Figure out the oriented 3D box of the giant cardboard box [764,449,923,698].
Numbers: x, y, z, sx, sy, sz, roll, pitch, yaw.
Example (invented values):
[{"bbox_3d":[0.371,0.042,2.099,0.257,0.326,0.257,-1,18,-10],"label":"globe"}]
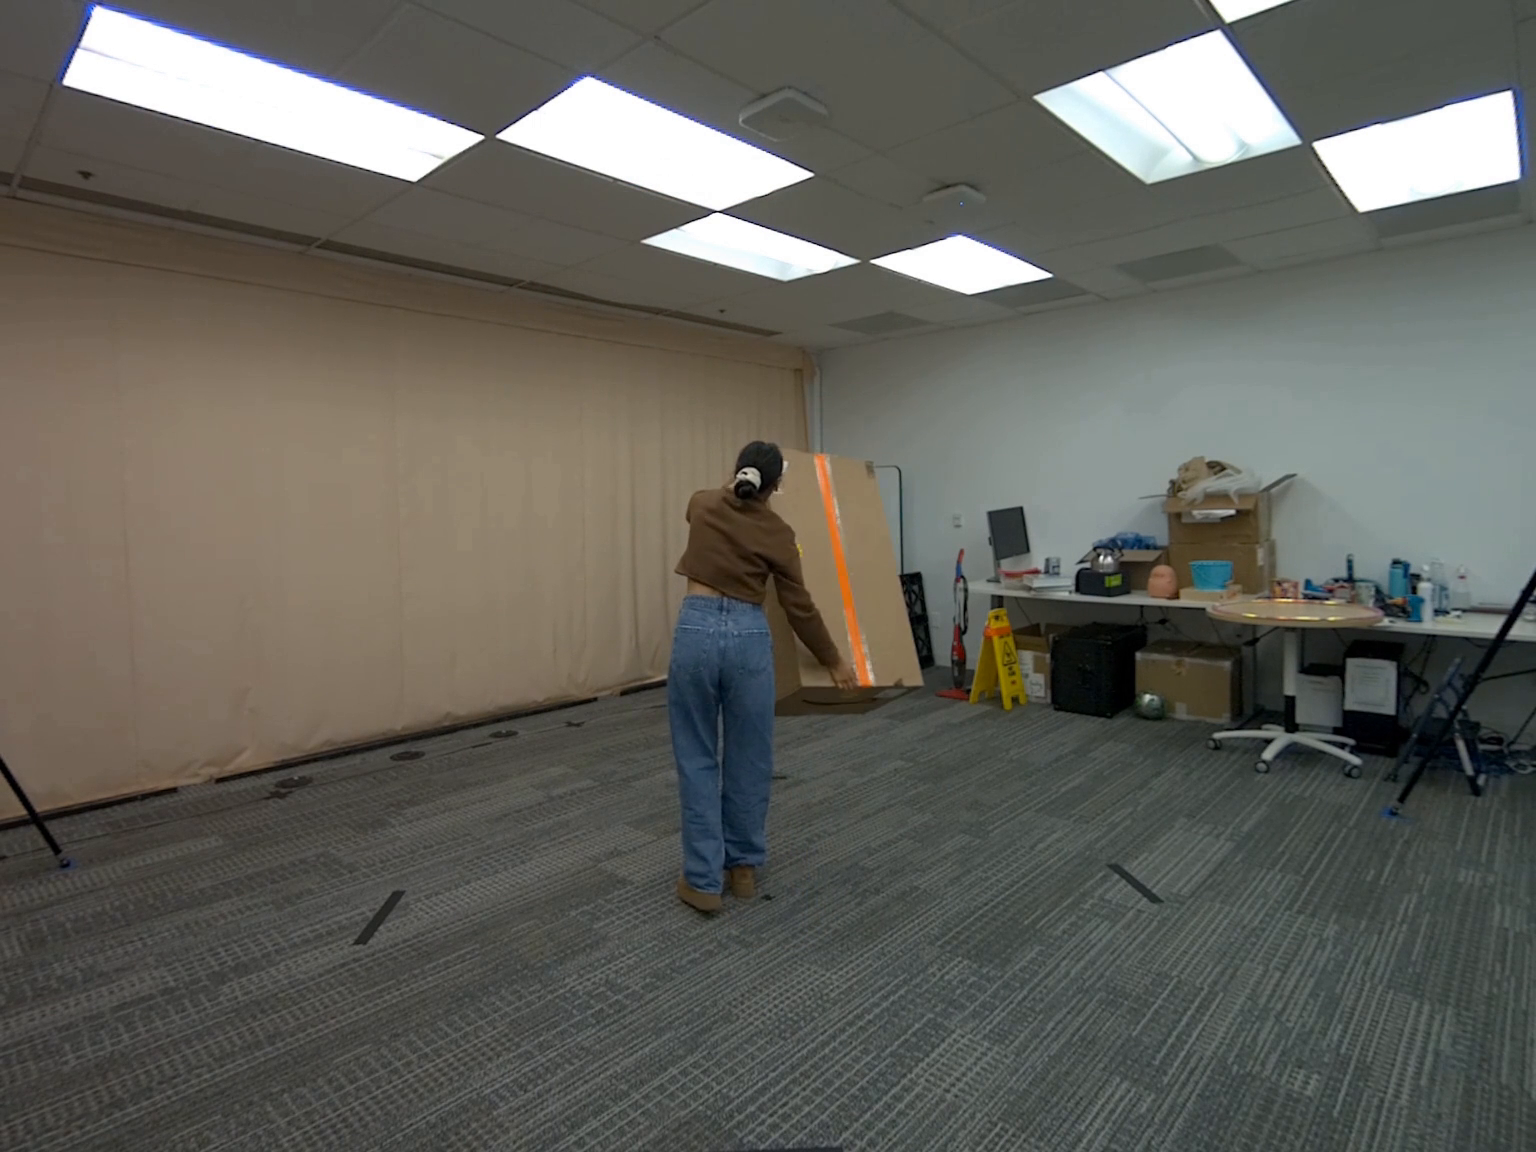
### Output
[{"bbox_3d":[0.195,0.031,3.549,0.562,1.043,0.430,4,-26,-28],"label":"giant cardboard box"}]
